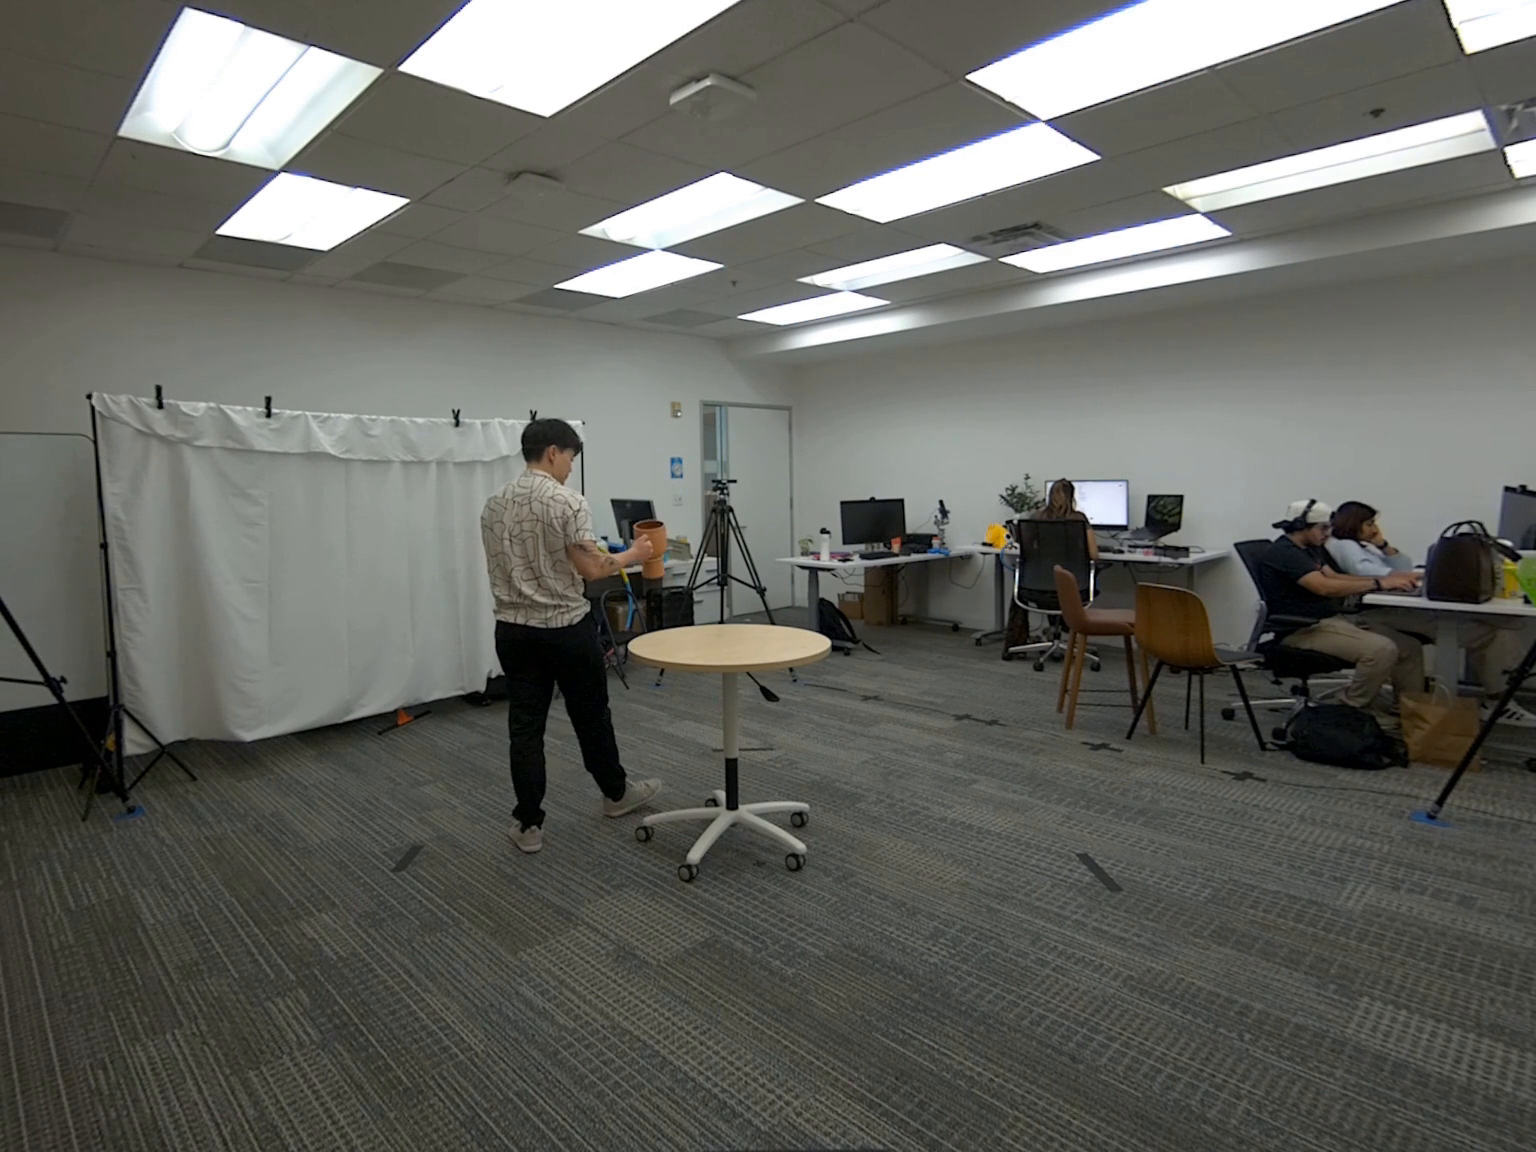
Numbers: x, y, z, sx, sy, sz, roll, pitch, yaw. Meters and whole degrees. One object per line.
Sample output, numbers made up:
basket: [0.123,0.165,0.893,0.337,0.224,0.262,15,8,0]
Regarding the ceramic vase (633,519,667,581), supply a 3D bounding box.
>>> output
ceramic vase: [-0.486,-0.109,3.559,0.156,0.216,0.139,-18,24,-40]
